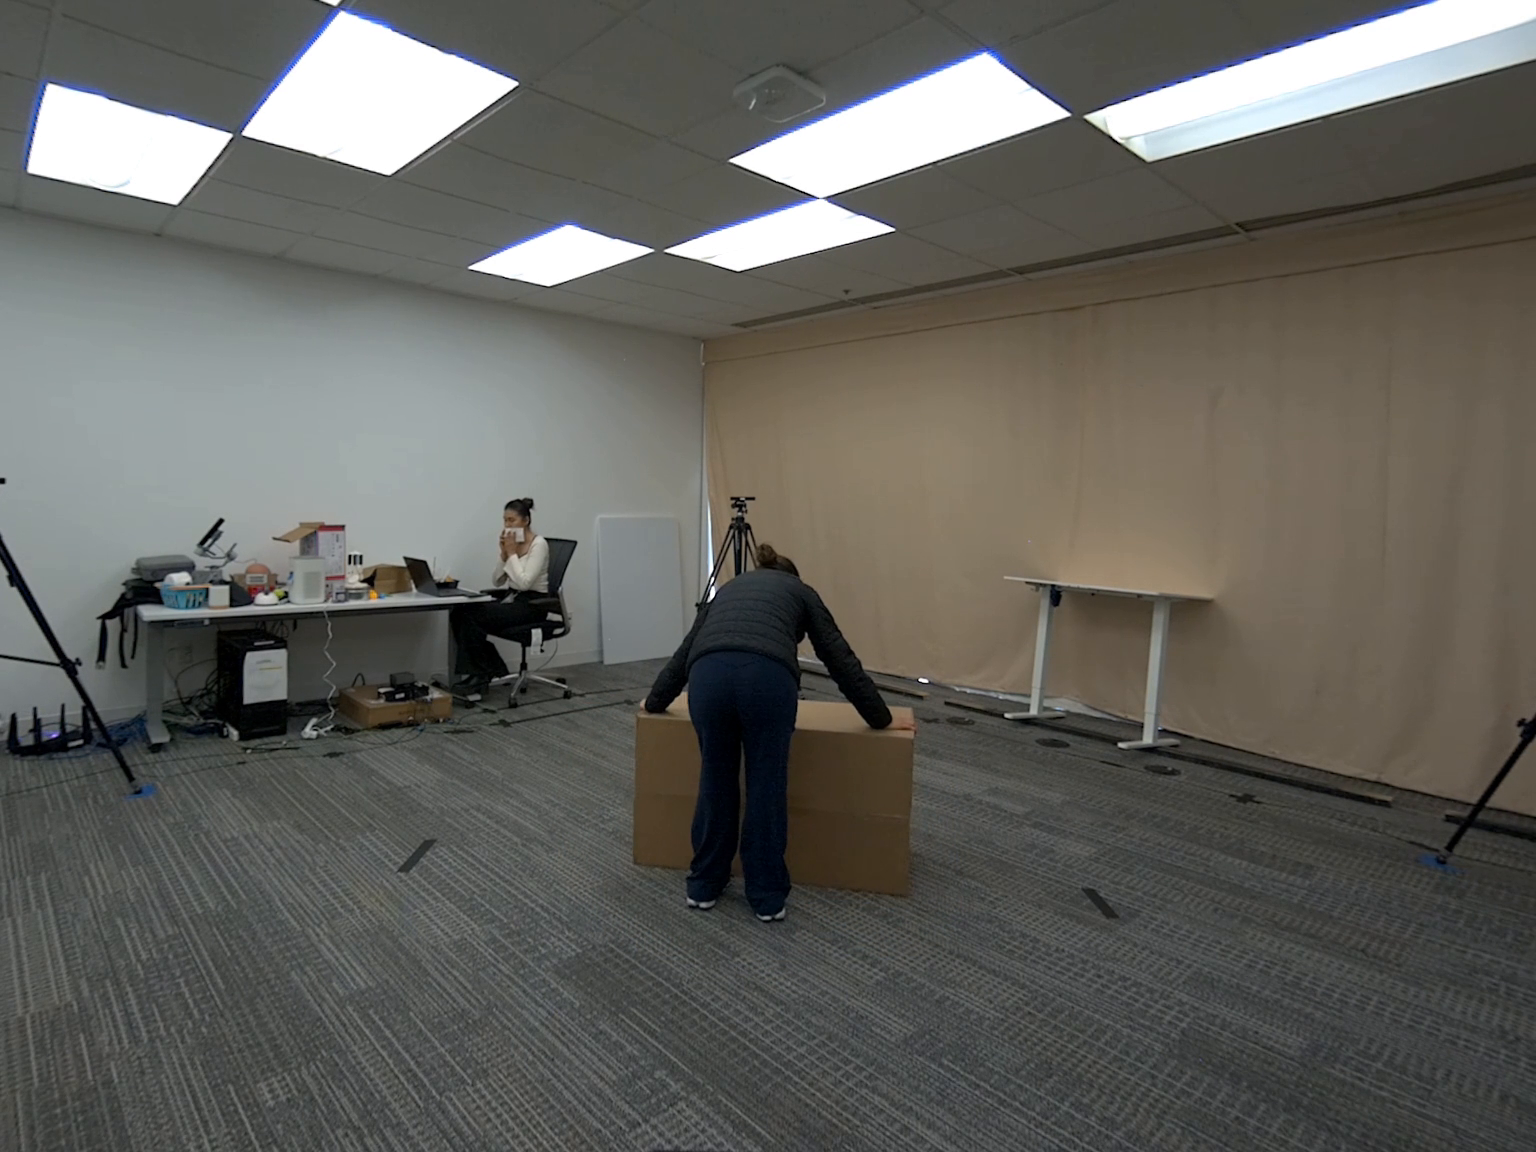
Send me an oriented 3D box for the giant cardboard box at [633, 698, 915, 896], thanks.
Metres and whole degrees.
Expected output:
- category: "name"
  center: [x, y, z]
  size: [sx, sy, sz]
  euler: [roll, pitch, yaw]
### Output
- category: "giant cardboard box"
  center: [0.028, 0.809, 3.264]
  size: [1.037, 0.581, 0.444]
  euler: [2, 6, 12]
